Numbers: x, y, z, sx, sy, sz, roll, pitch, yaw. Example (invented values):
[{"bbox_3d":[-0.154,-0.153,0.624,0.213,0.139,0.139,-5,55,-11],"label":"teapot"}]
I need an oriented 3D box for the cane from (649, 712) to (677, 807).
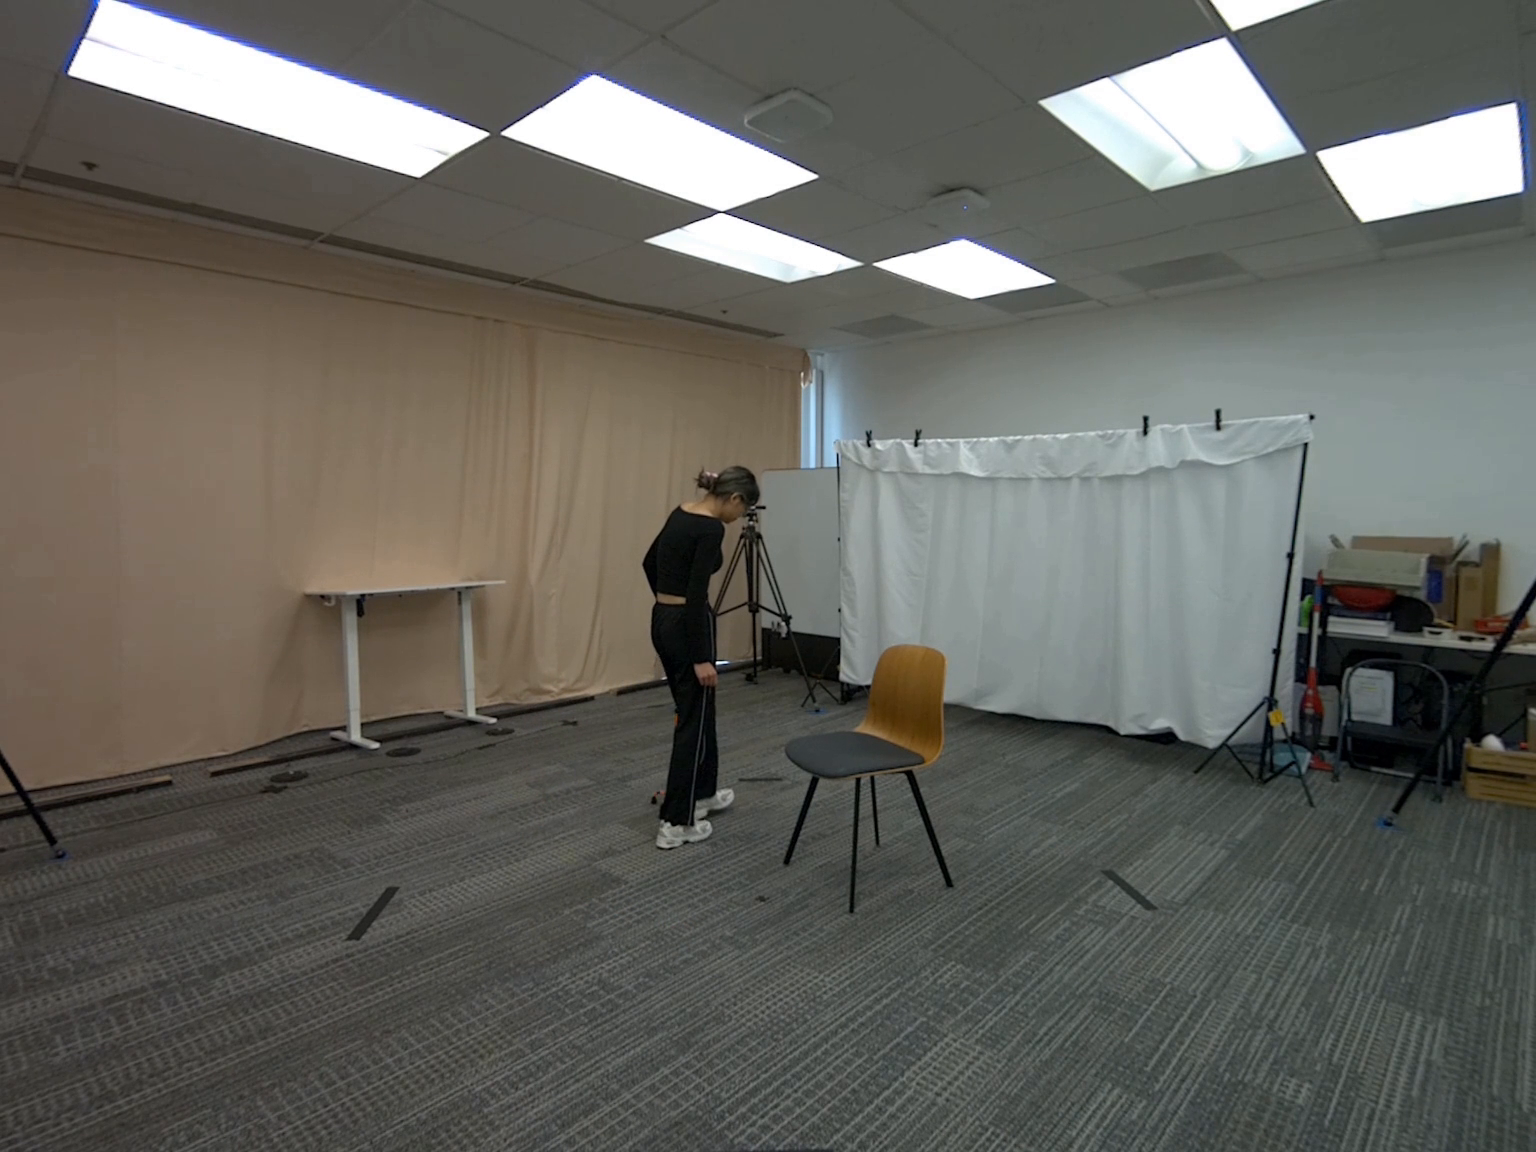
[{"bbox_3d":[-0.428,0.610,3.923,0.201,0.907,0.156,1,2,-27],"label":"cane"}]
